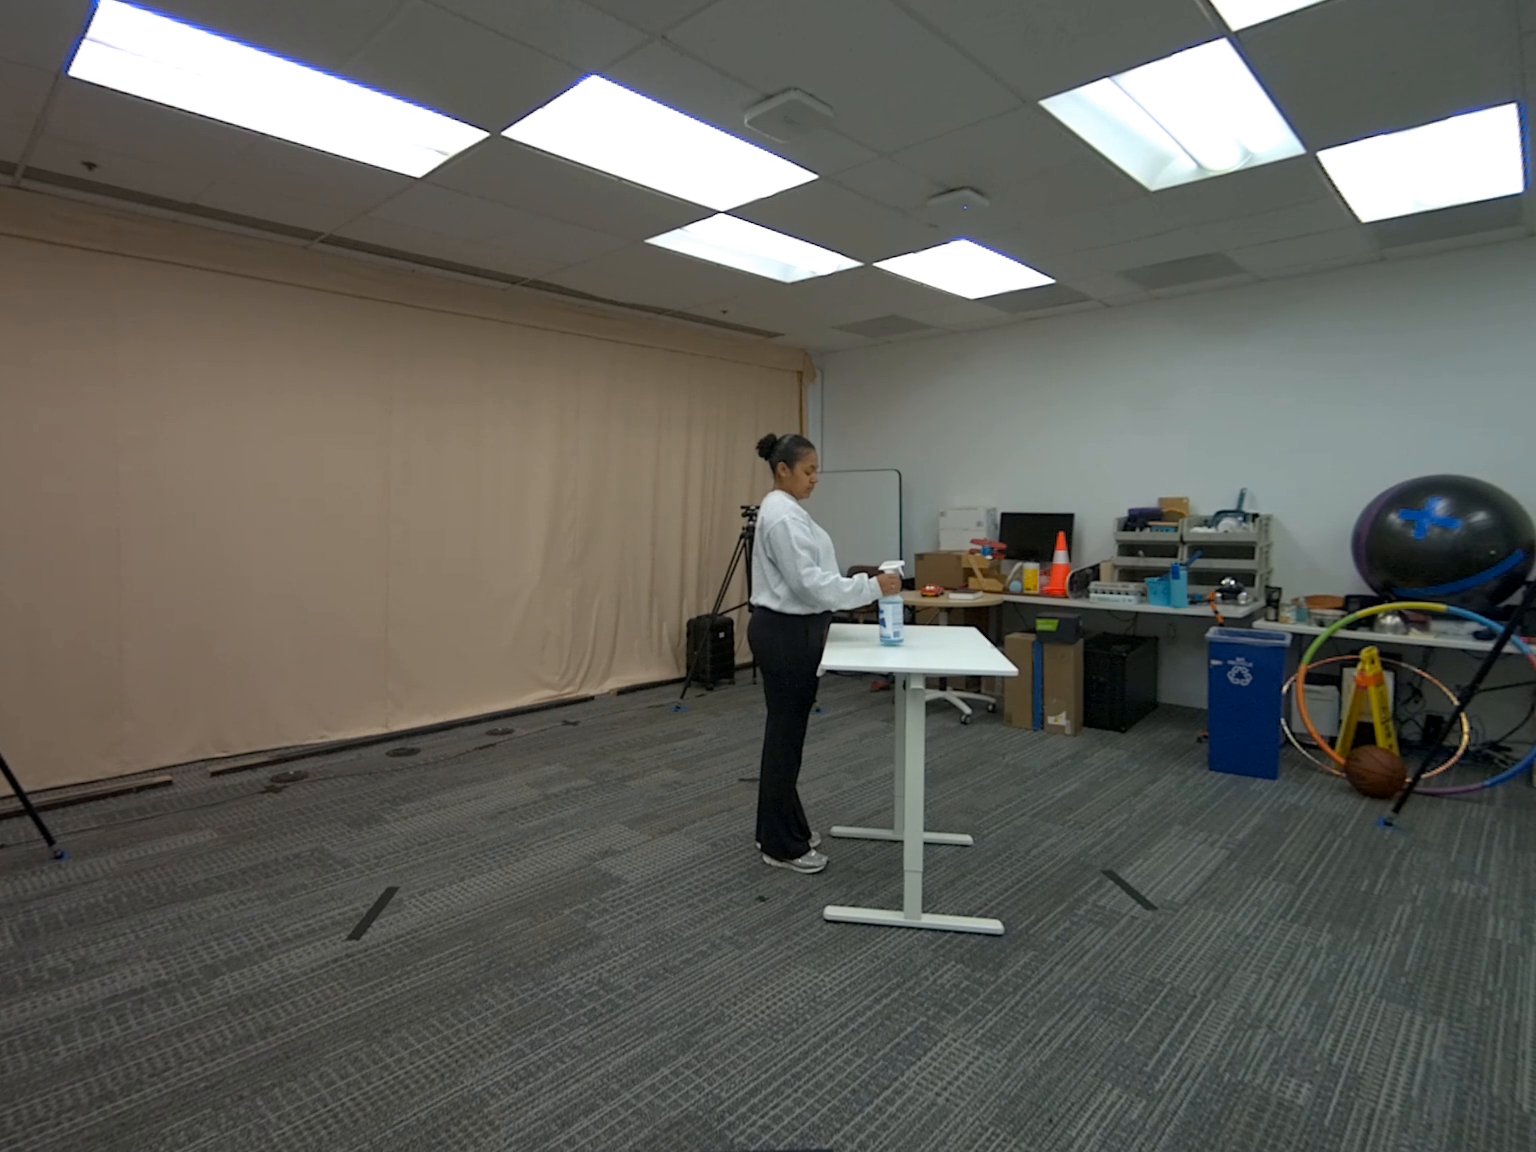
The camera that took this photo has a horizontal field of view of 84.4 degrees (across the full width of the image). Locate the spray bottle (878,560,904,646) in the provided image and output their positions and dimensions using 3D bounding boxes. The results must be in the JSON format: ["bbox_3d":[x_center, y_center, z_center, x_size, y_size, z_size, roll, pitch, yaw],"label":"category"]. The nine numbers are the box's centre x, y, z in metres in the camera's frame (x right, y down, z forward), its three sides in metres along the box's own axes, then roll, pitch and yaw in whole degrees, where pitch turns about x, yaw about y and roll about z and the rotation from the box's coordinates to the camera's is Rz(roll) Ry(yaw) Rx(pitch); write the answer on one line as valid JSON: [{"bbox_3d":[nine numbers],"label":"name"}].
[{"bbox_3d":[0.450,0.089,3.049,0.084,0.297,0.093,-4,5,-43],"label":"spray bottle"}]
